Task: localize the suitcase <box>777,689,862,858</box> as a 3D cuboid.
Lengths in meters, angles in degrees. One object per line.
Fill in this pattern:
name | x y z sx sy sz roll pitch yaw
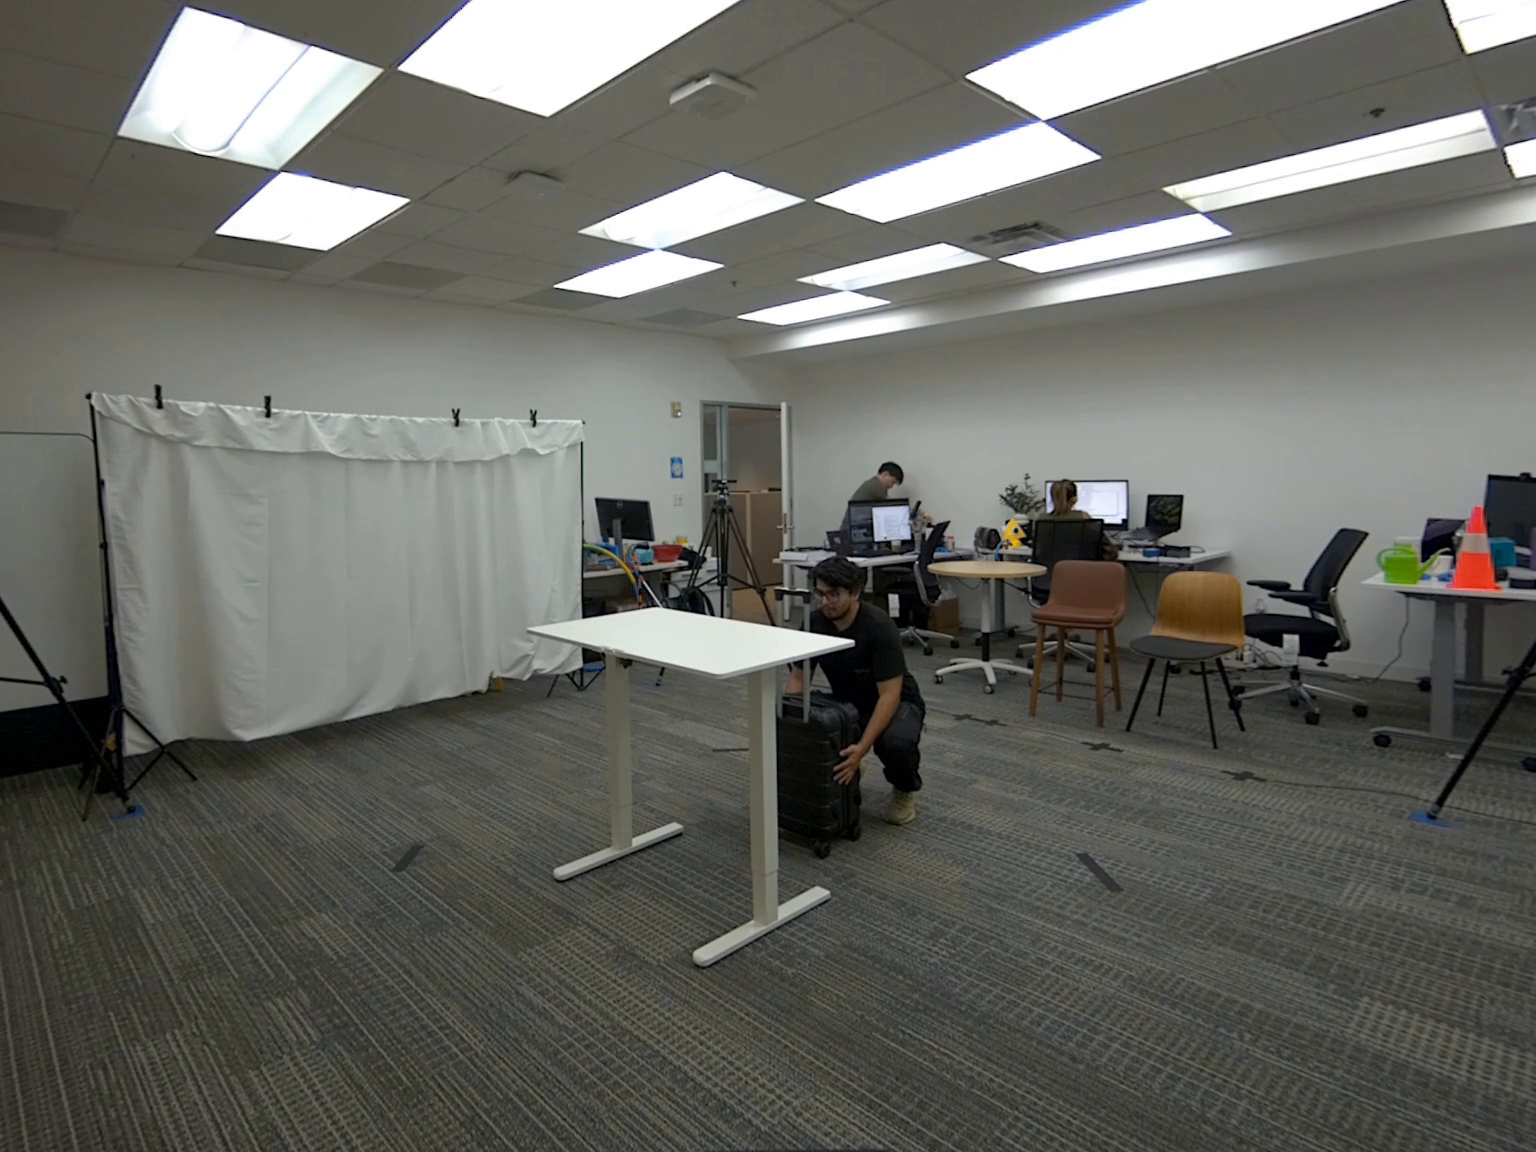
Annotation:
suitcase | 0.162 0.536 3.332 0.395 0.977 0.250 2 2 43
